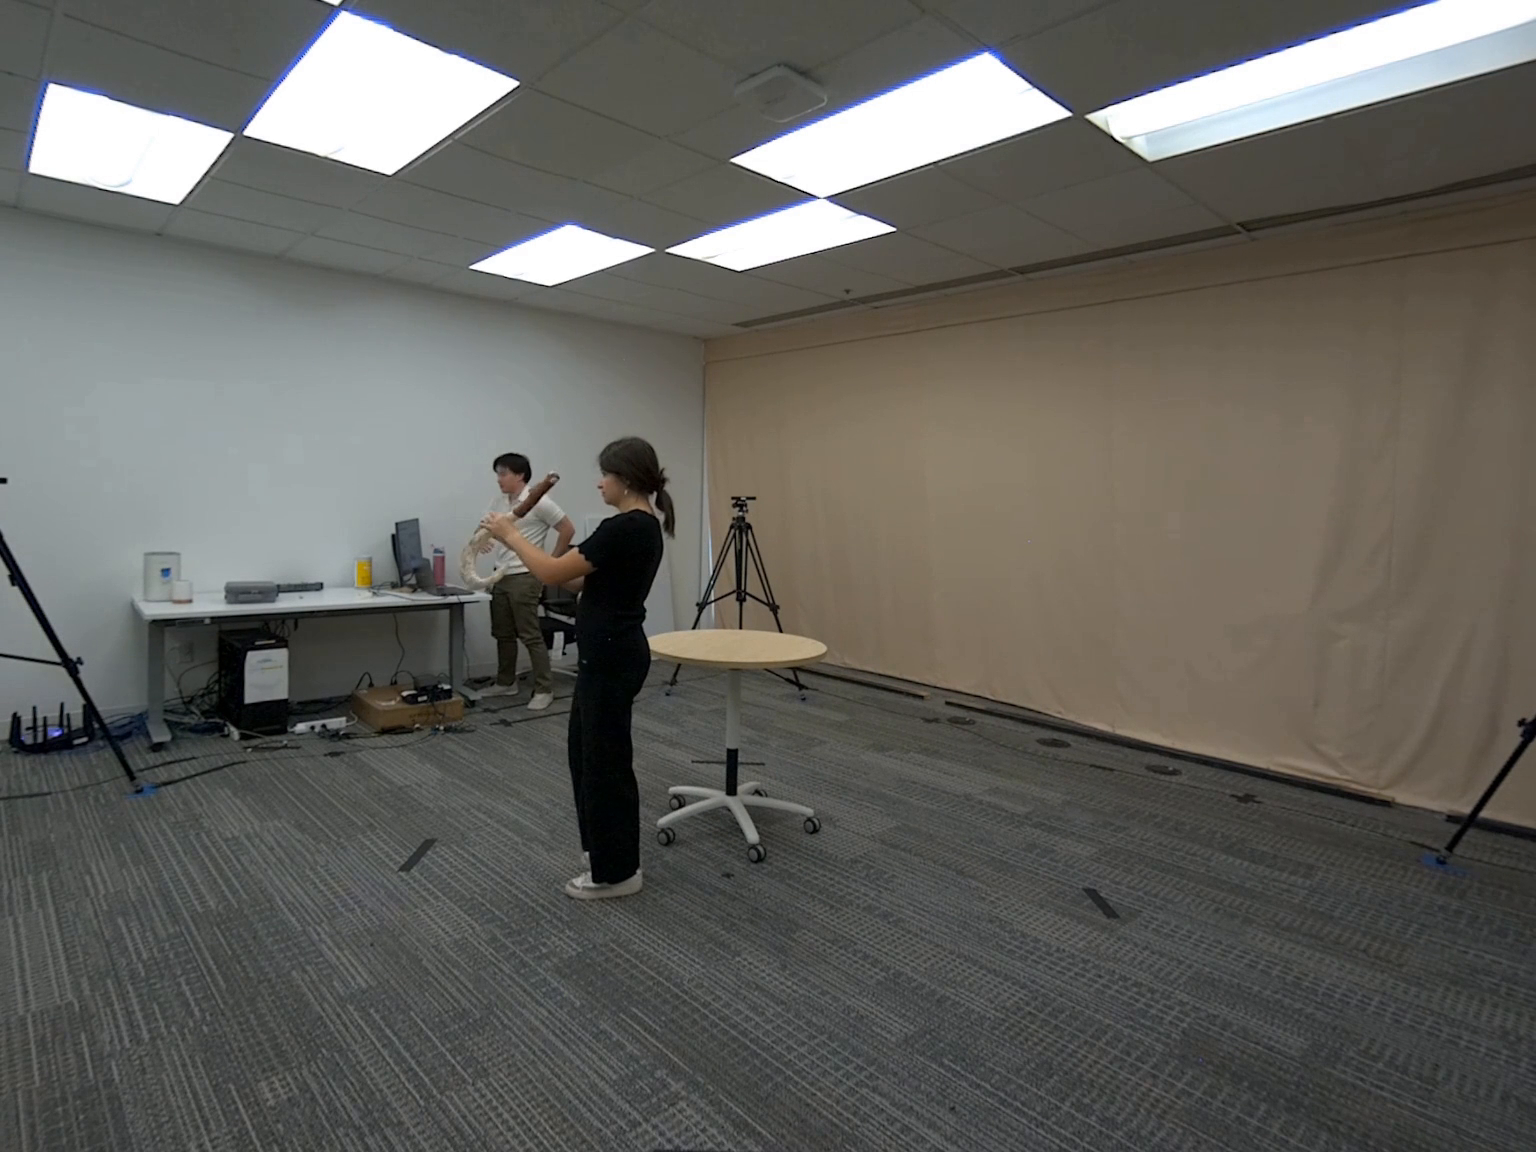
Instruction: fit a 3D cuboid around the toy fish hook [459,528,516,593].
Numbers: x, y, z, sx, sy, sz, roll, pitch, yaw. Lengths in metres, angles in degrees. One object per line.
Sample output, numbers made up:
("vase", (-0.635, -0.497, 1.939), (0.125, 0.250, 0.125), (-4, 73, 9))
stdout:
("toy fish hook", (-0.868, -0.142, 2.885), (0.507, 0.230, 0.047), (-41, -23, 14))
